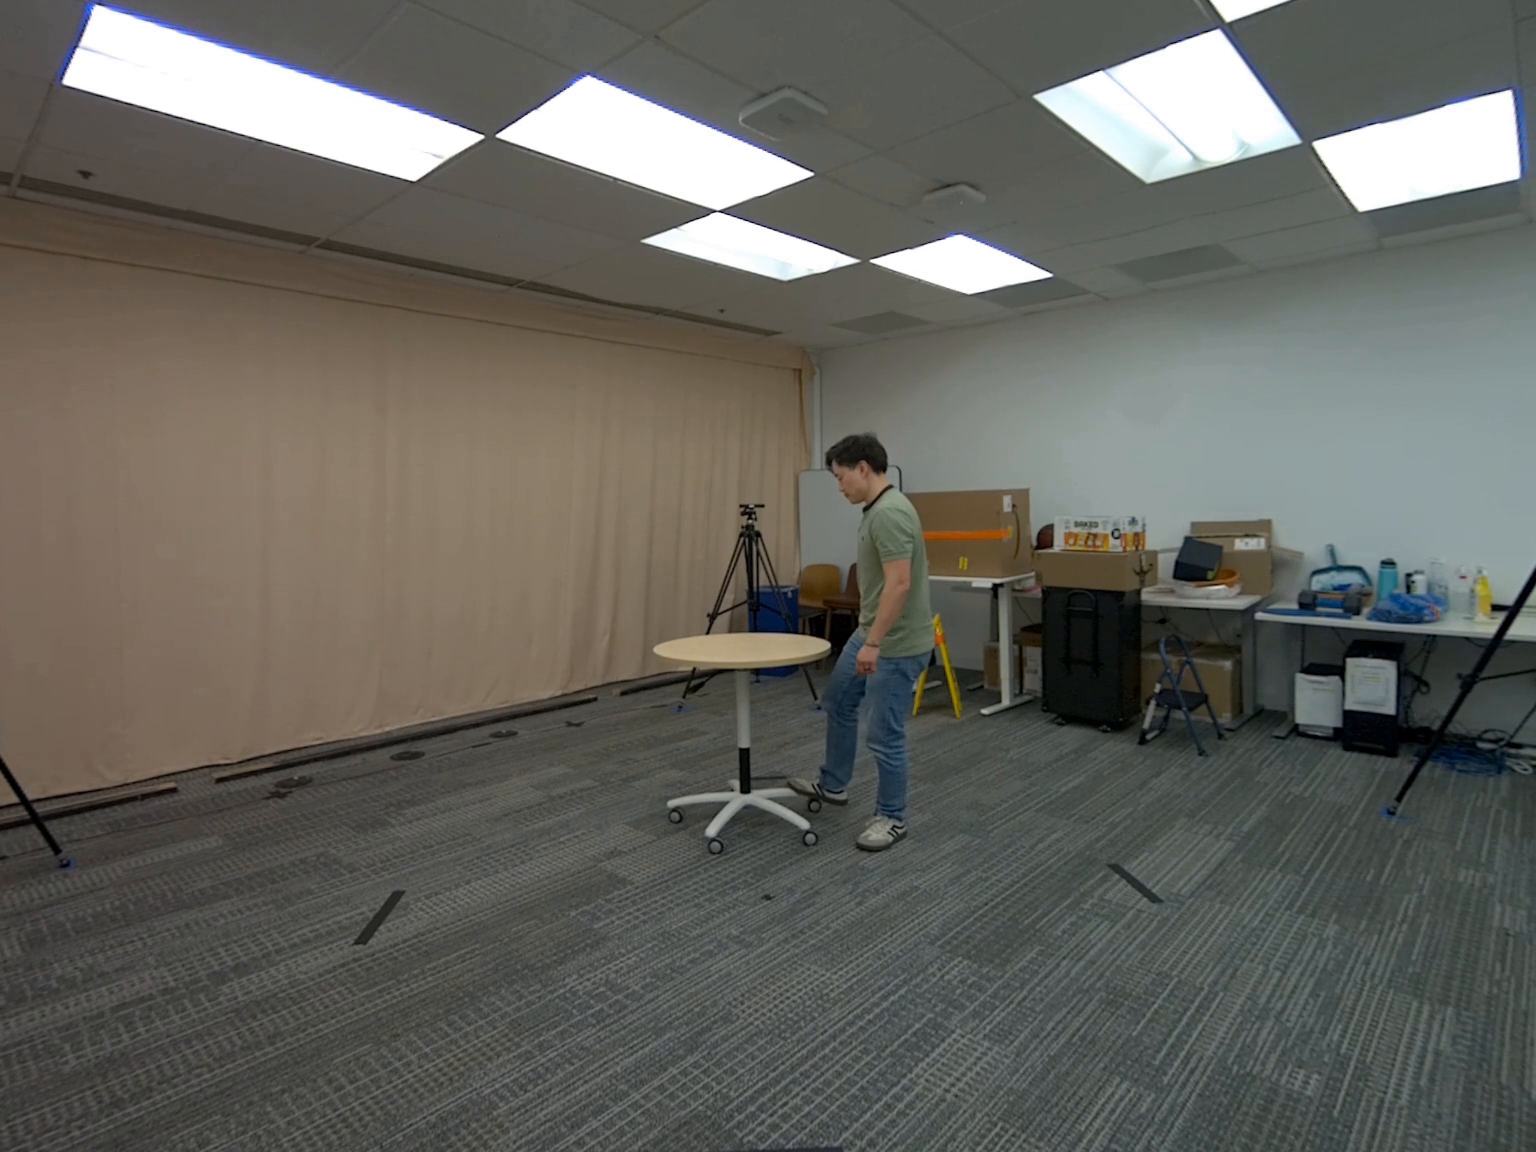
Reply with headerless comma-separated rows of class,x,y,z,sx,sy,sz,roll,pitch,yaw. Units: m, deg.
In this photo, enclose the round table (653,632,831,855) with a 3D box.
round table,-0.102,0.696,3.663,0.763,0.792,0.766,-1,3,-2
